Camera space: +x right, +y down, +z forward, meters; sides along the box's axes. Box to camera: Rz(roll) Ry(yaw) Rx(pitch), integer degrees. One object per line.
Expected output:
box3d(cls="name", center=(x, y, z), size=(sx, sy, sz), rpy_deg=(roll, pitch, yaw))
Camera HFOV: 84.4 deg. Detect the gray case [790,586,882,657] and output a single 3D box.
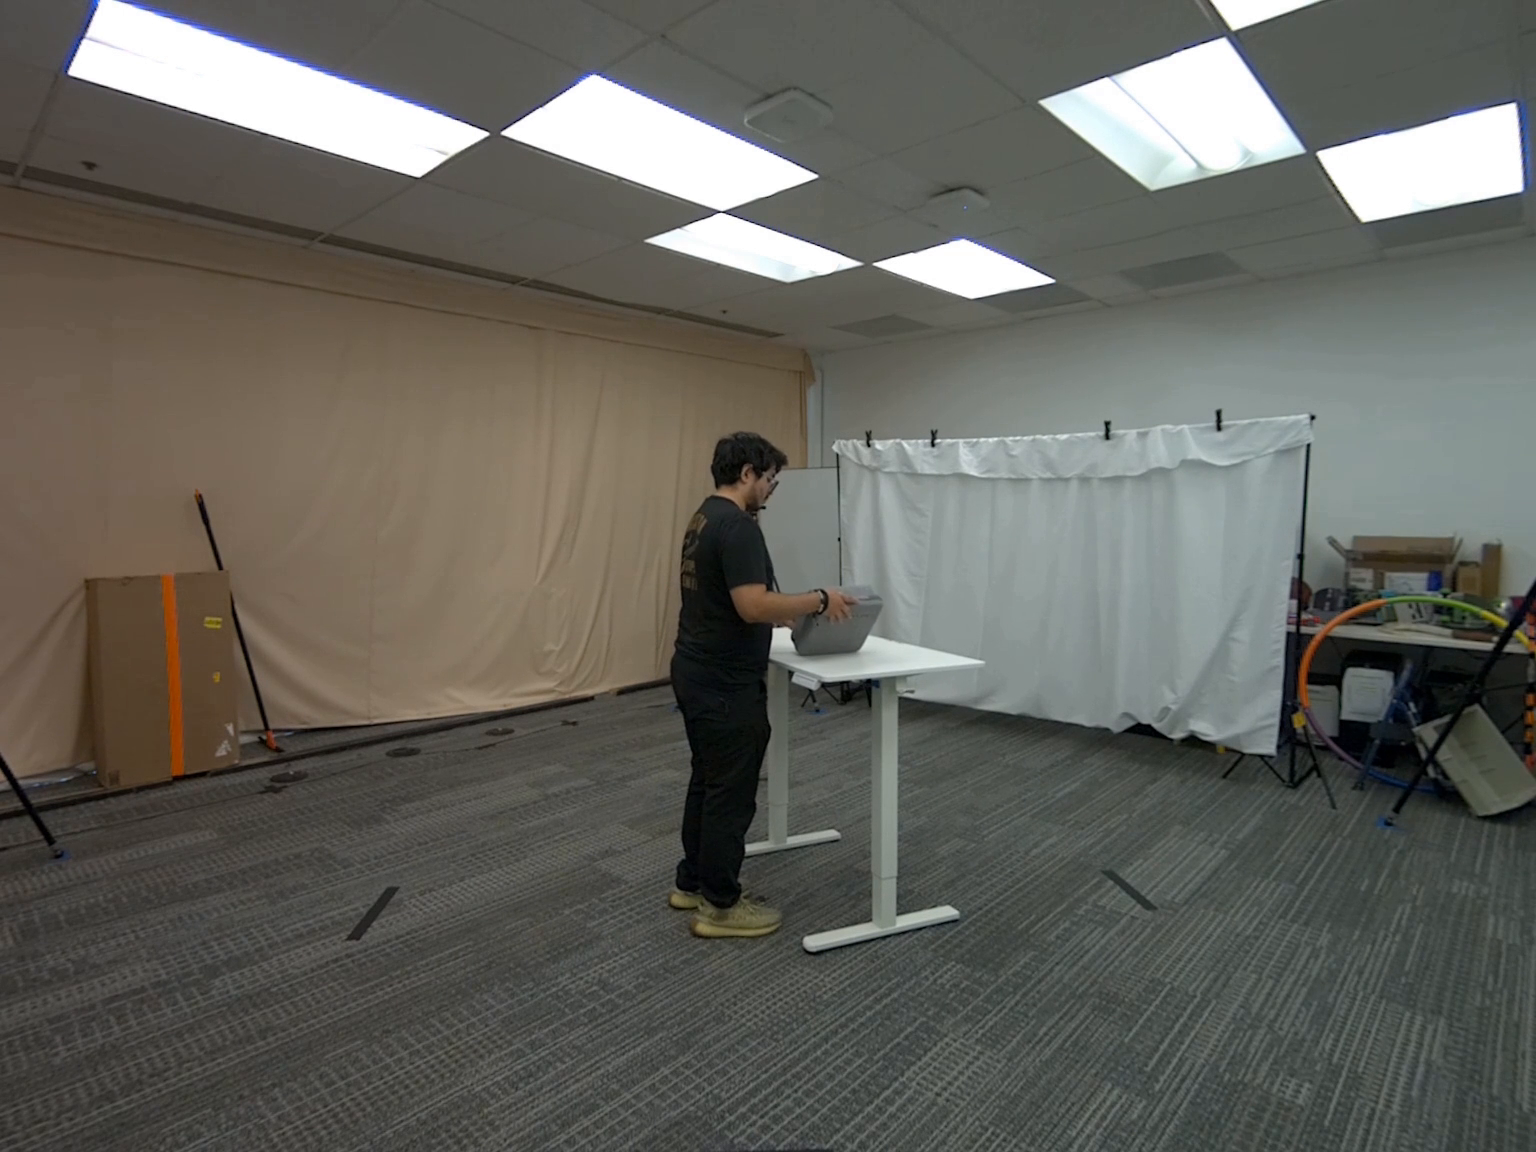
box3d(cls="gray case", center=(0.231, 0.151, 2.820), size=(0.251, 0.258, 0.107), rpy_deg=(1, 37, -23))
